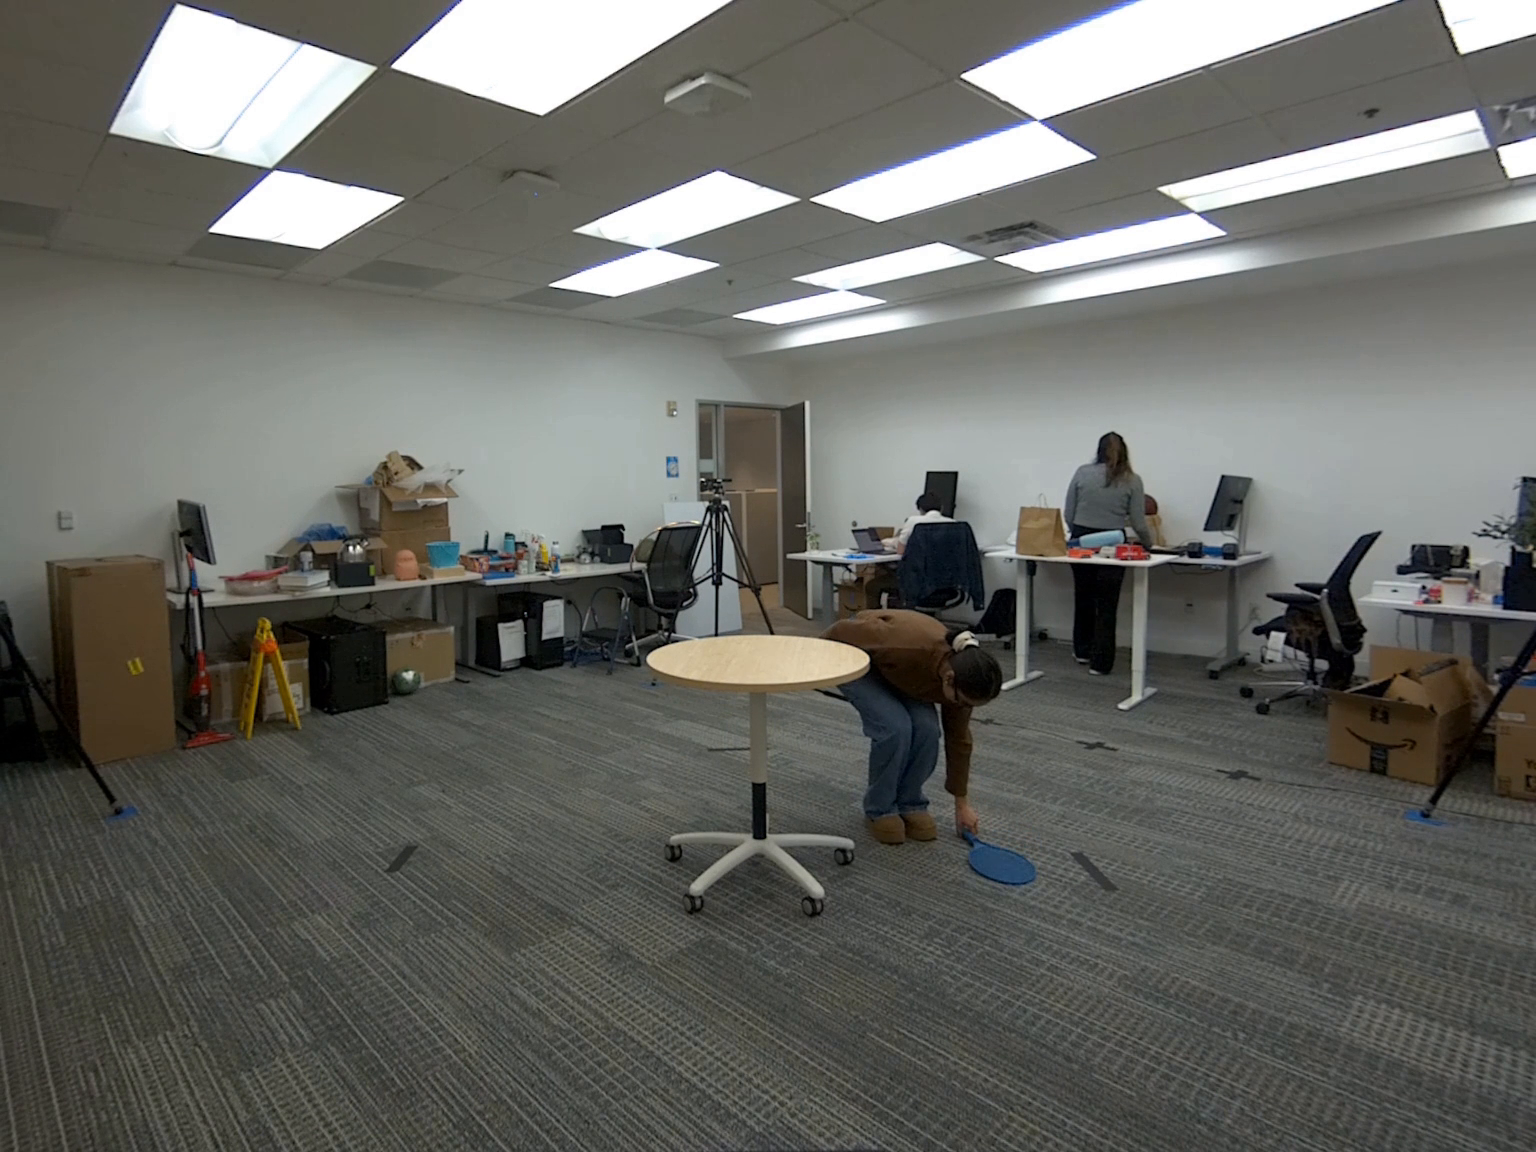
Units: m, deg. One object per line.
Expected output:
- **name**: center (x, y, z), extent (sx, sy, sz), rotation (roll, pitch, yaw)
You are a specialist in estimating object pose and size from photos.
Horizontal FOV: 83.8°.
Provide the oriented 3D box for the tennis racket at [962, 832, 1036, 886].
- **tennis racket**: center (0.799, 1.003, 3.117), extent (0.210, 0.031, 0.441), rotation (-1, 7, -16)
